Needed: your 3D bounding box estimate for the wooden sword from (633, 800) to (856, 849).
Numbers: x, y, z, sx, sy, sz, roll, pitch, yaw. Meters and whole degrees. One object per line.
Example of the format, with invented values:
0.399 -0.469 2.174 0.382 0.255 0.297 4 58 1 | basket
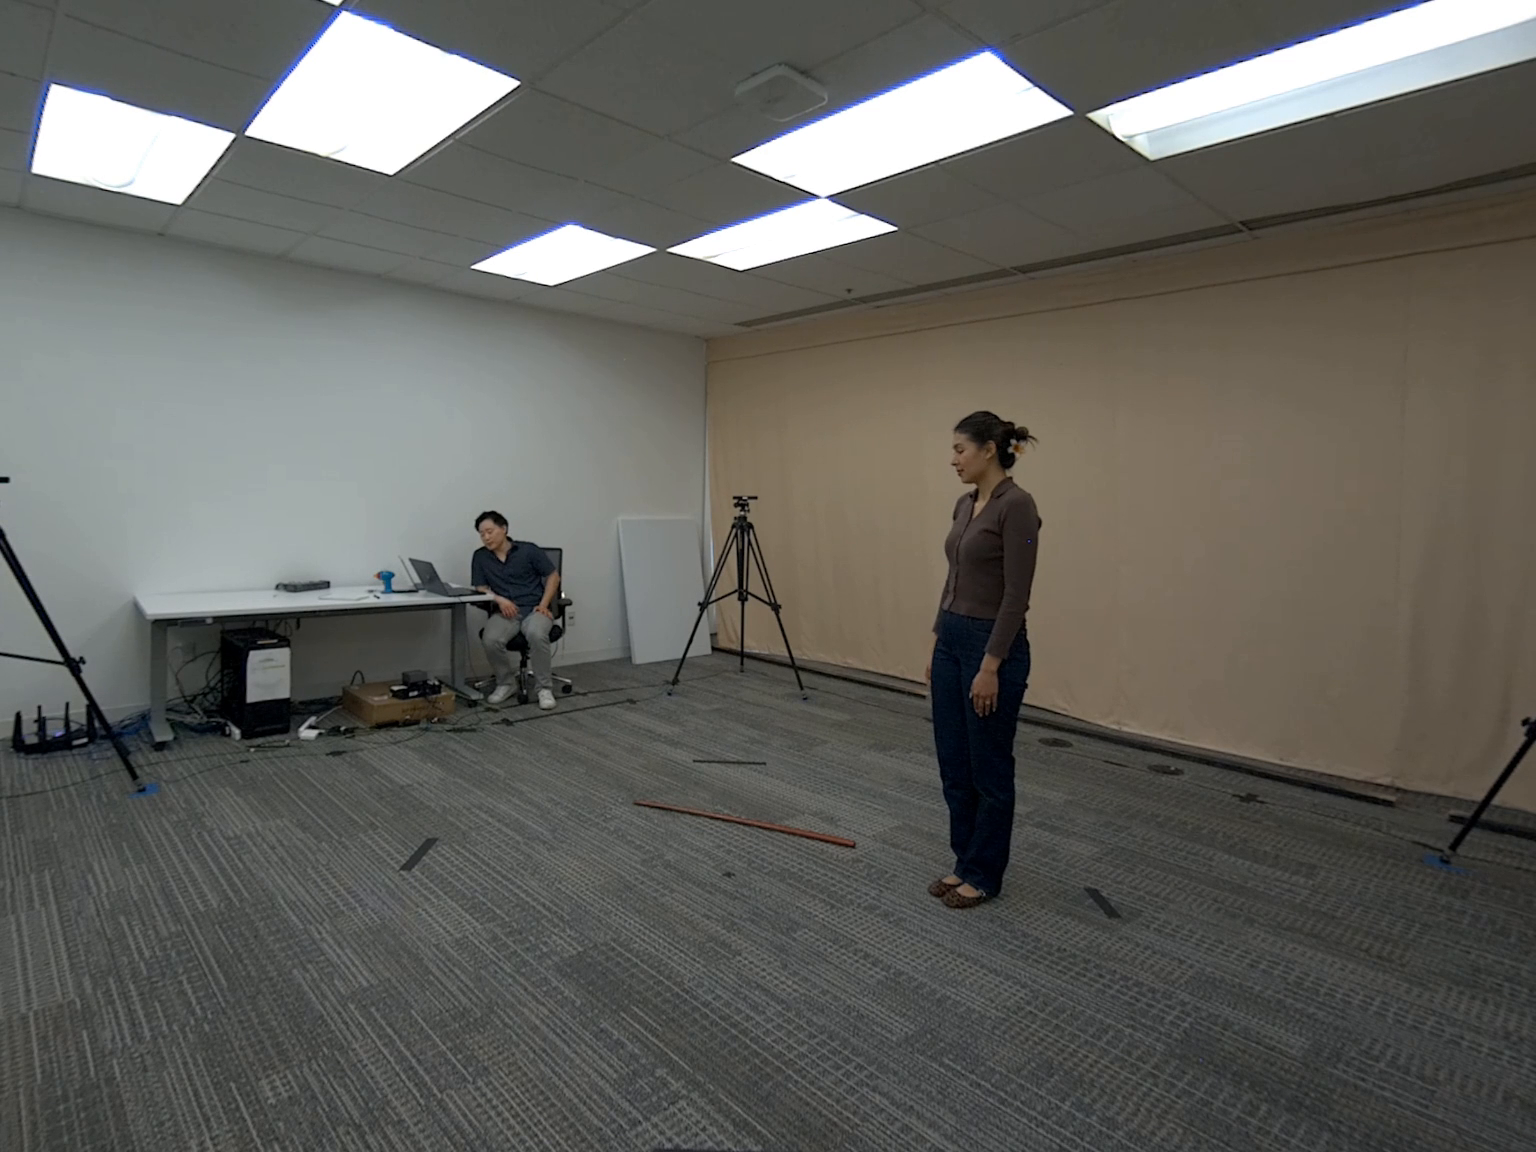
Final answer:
-0.130 1.035 3.592 1.044 0.024 0.050 3 7 24 | wooden sword
